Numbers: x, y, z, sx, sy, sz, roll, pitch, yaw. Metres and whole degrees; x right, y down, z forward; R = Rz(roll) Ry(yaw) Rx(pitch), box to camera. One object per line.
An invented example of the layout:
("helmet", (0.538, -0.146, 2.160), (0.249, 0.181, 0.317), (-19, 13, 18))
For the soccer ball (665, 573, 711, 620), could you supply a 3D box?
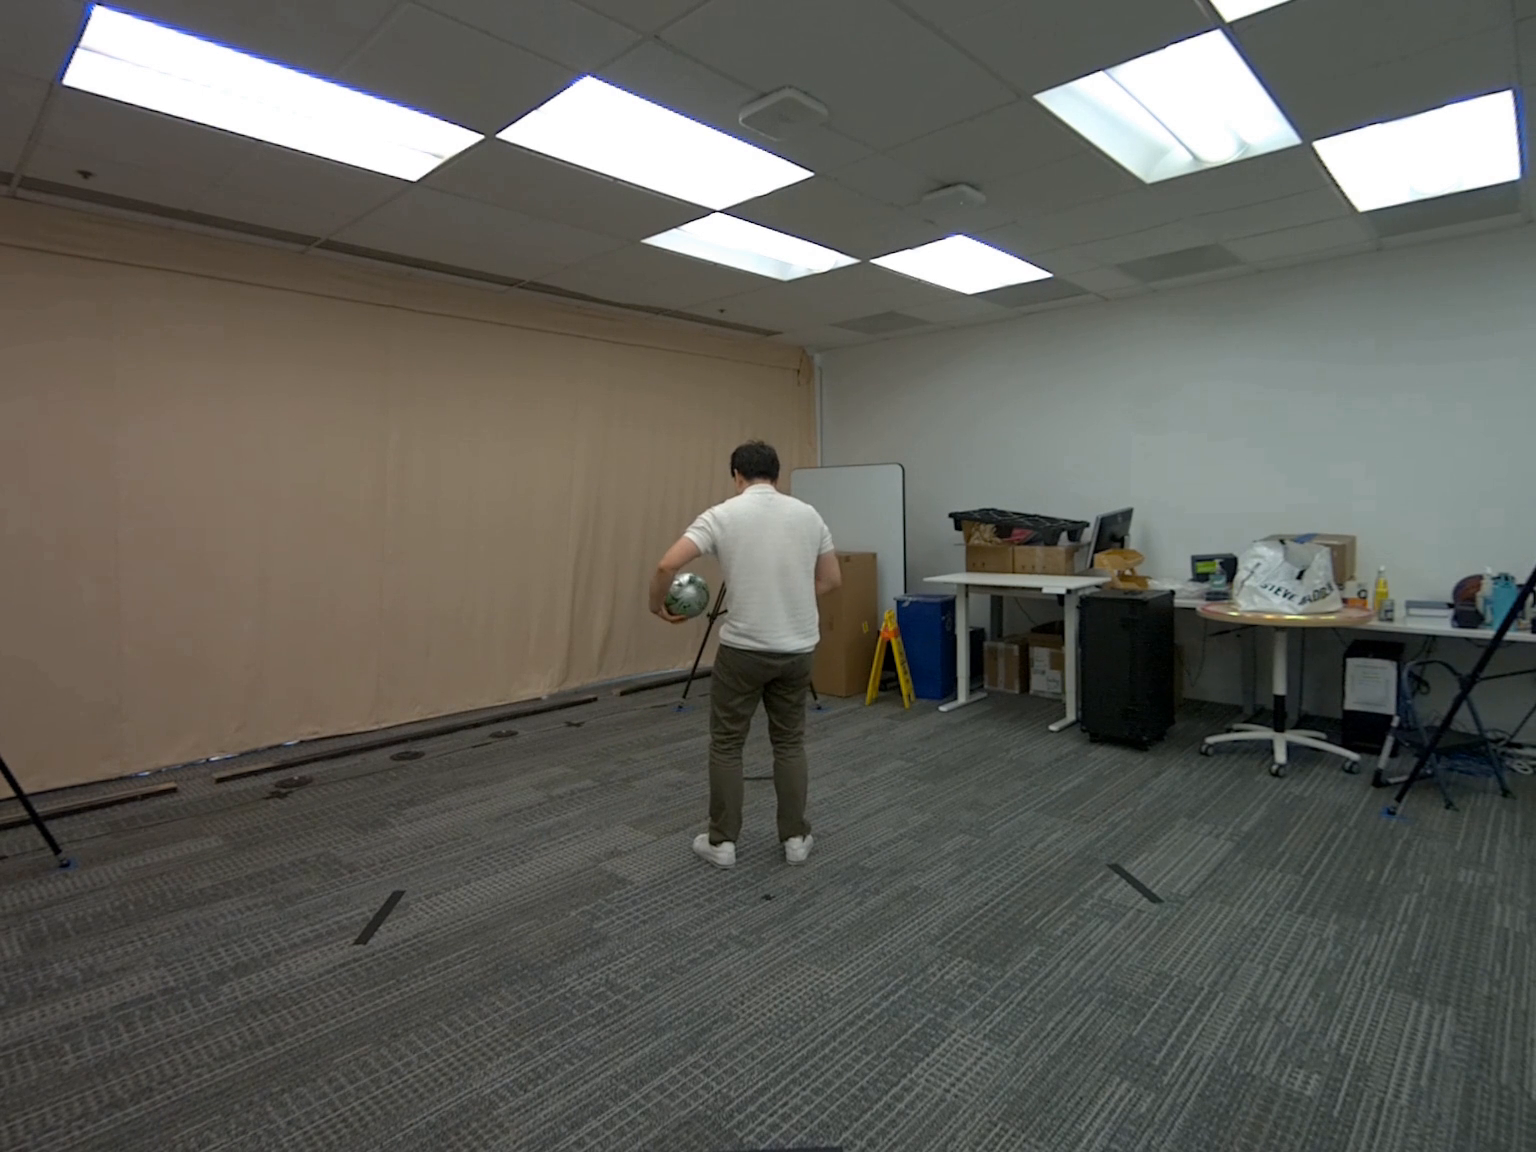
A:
("soccer ball", (-0.311, 0.082, 3.353), (0.187, 0.187, 0.188), (-1, 4, -2))
